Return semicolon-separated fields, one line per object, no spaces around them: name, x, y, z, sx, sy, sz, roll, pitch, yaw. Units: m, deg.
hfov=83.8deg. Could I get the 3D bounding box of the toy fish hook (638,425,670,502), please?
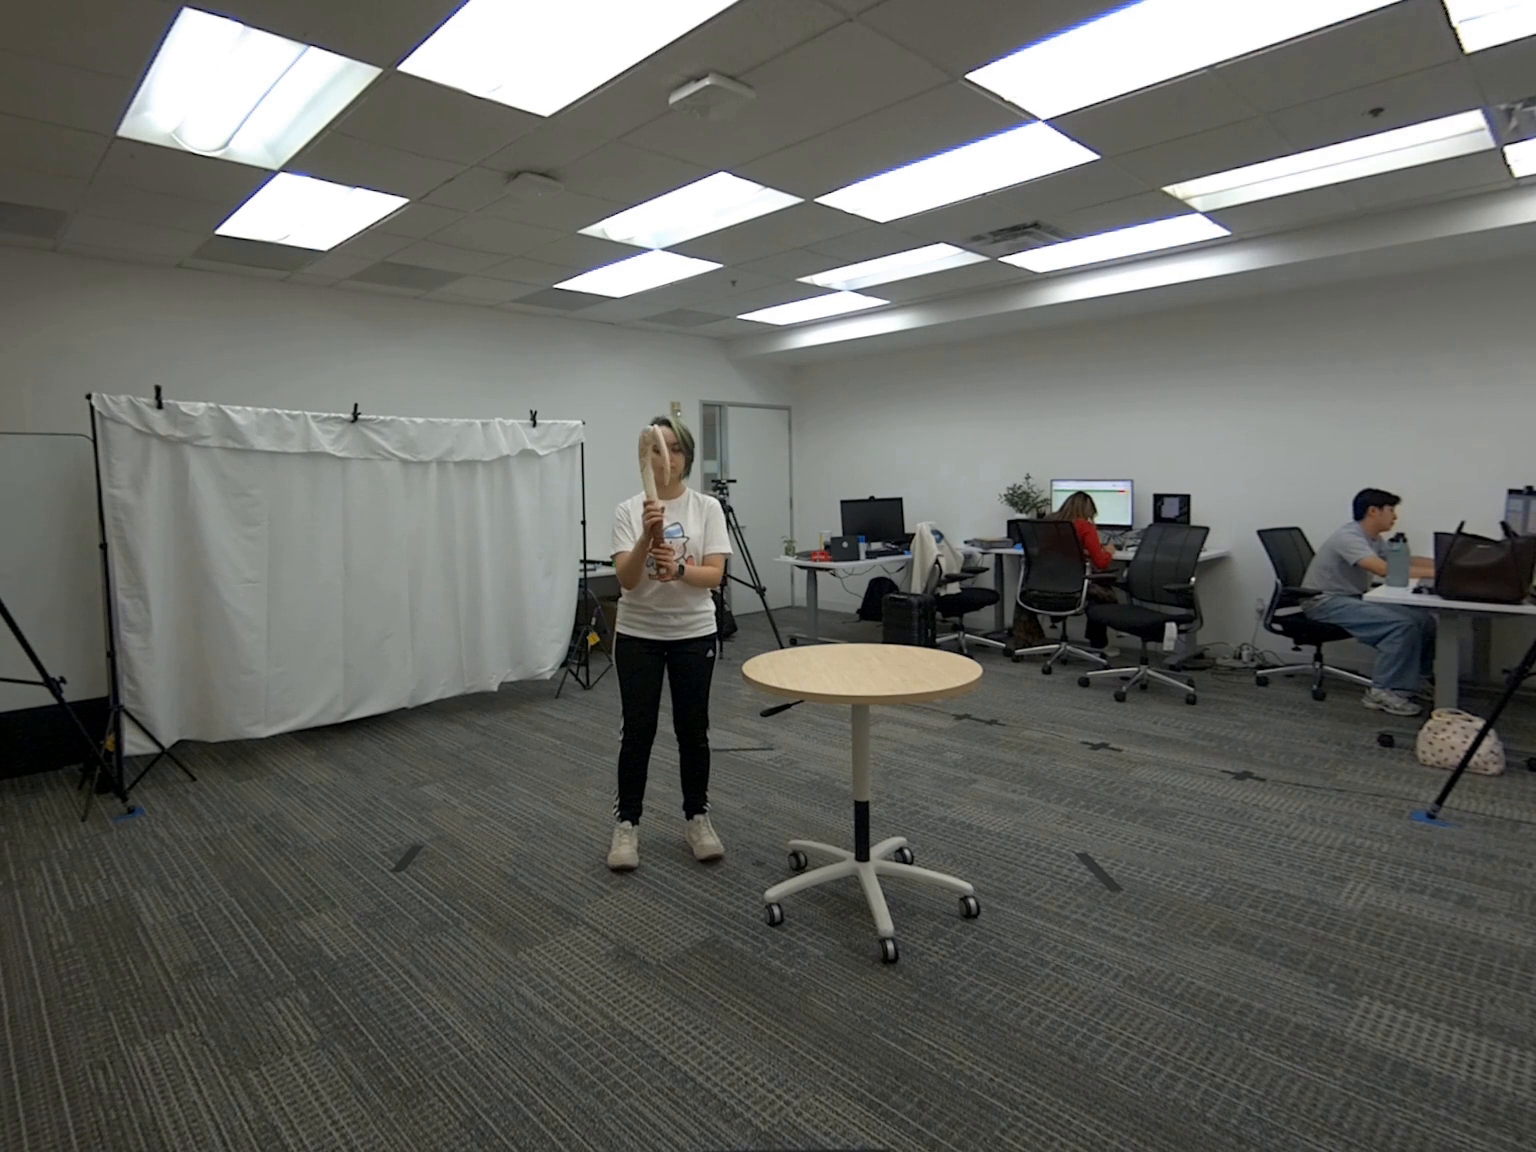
toy fish hook;-0.373;-0.245;2.842;0.047;0.502;0.231;-6;10;-23
